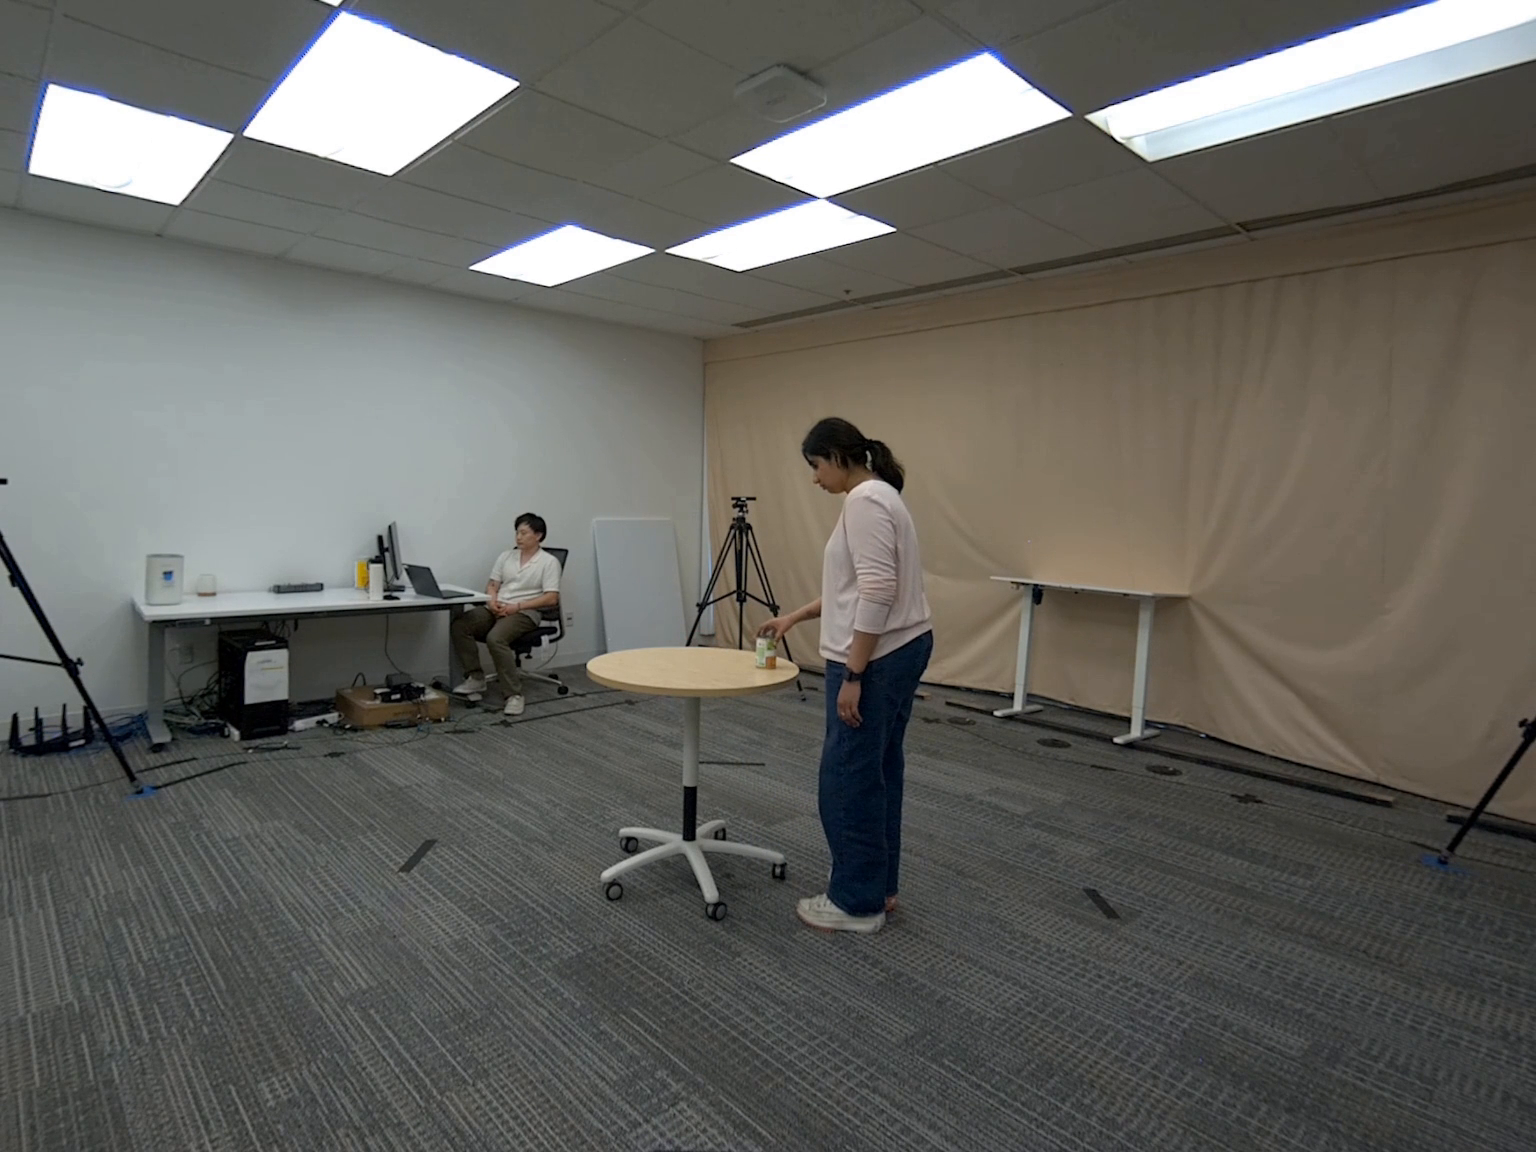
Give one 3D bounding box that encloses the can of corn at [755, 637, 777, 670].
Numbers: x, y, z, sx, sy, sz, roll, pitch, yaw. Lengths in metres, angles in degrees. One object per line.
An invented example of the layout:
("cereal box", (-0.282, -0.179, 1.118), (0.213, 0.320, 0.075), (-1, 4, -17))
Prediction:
("can of corn", (-0.011, 0.282, 3.050), (0.074, 0.111, 0.074), (5, 5, -2))
